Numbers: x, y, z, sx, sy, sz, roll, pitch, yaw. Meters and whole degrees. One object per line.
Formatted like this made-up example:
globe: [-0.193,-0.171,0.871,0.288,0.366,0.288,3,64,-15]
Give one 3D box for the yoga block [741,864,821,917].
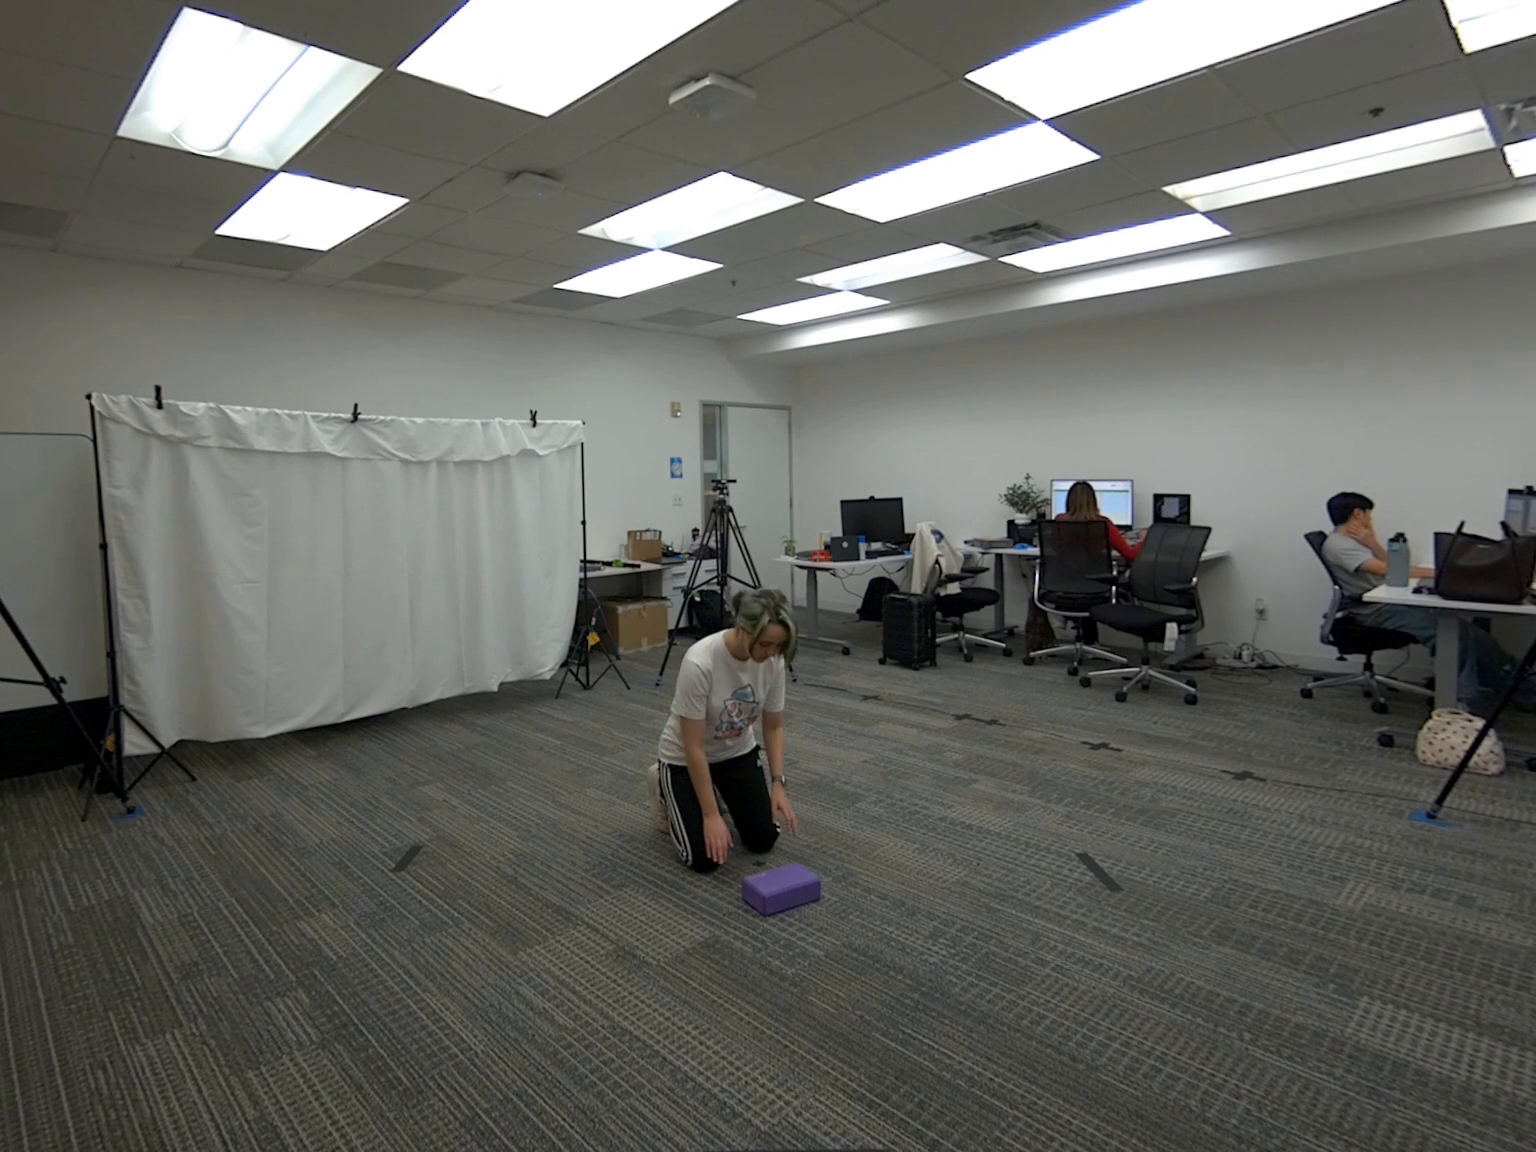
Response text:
yoga block: [0.046,1.034,2.840,0.224,0.076,0.153,-4,8,-31]
